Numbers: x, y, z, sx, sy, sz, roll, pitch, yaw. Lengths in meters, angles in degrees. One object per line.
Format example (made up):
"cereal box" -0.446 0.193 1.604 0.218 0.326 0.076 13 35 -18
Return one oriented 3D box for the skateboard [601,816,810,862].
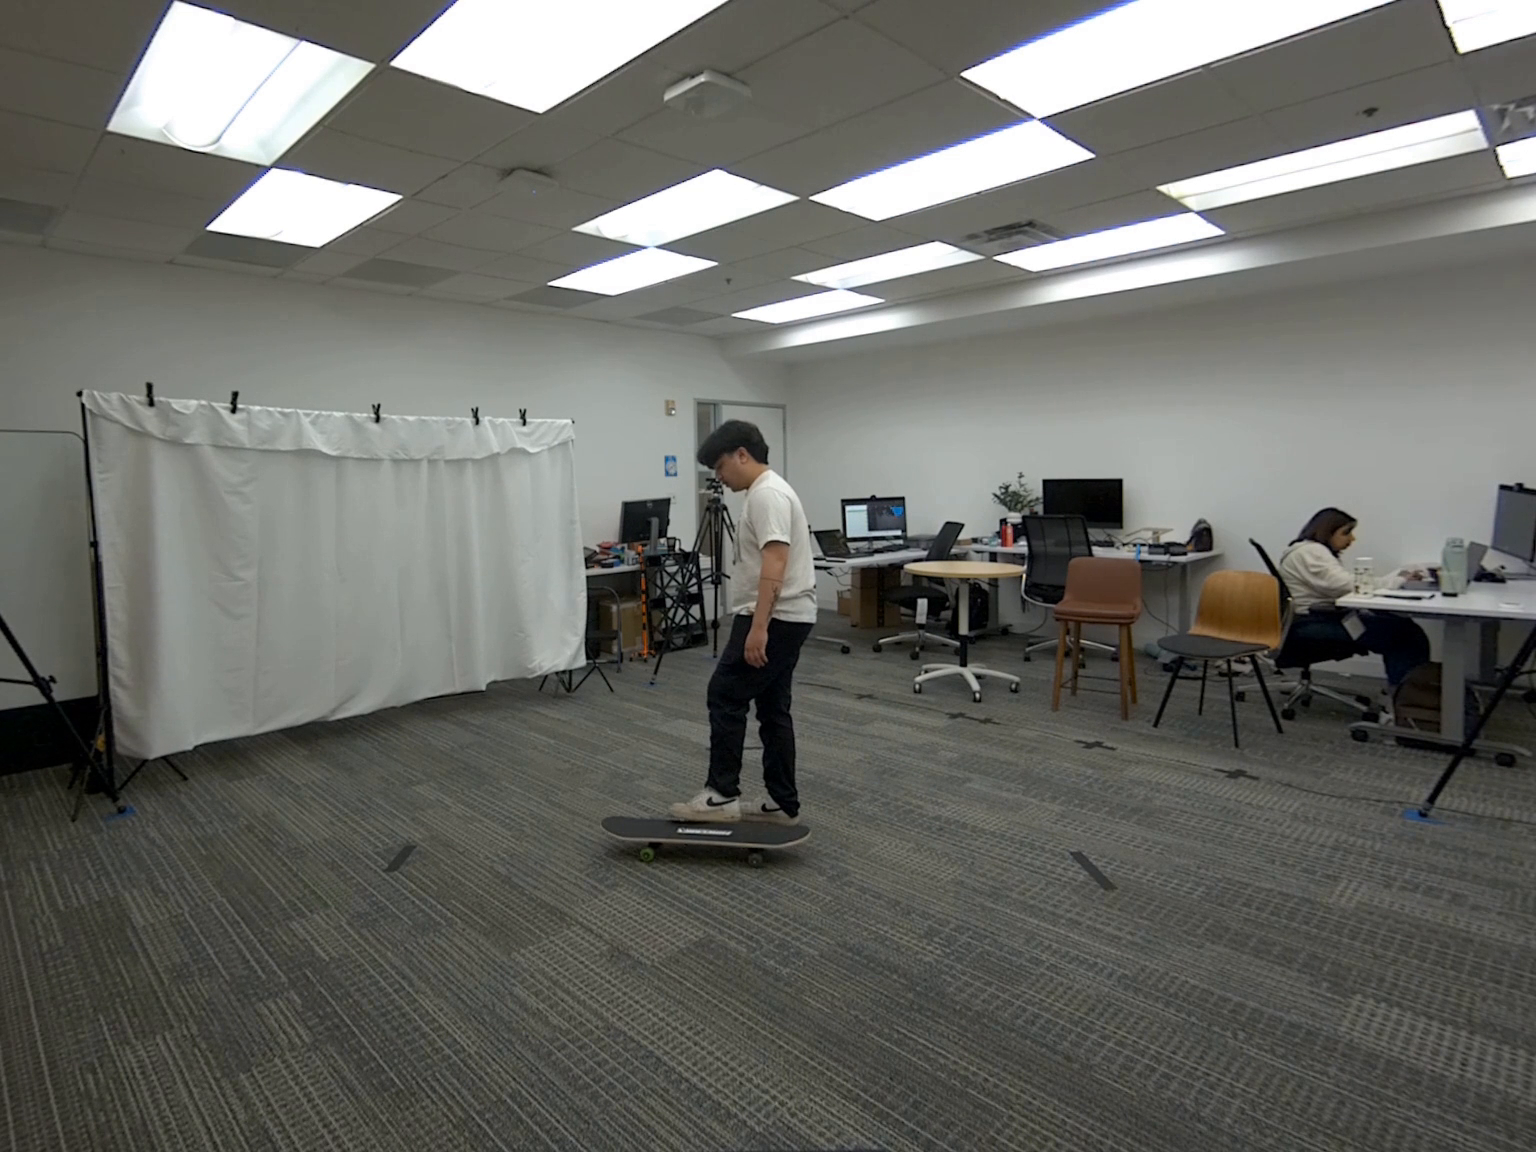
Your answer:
"skateboard" -0.238 0.981 3.174 0.793 0.110 0.192 0 5 9
